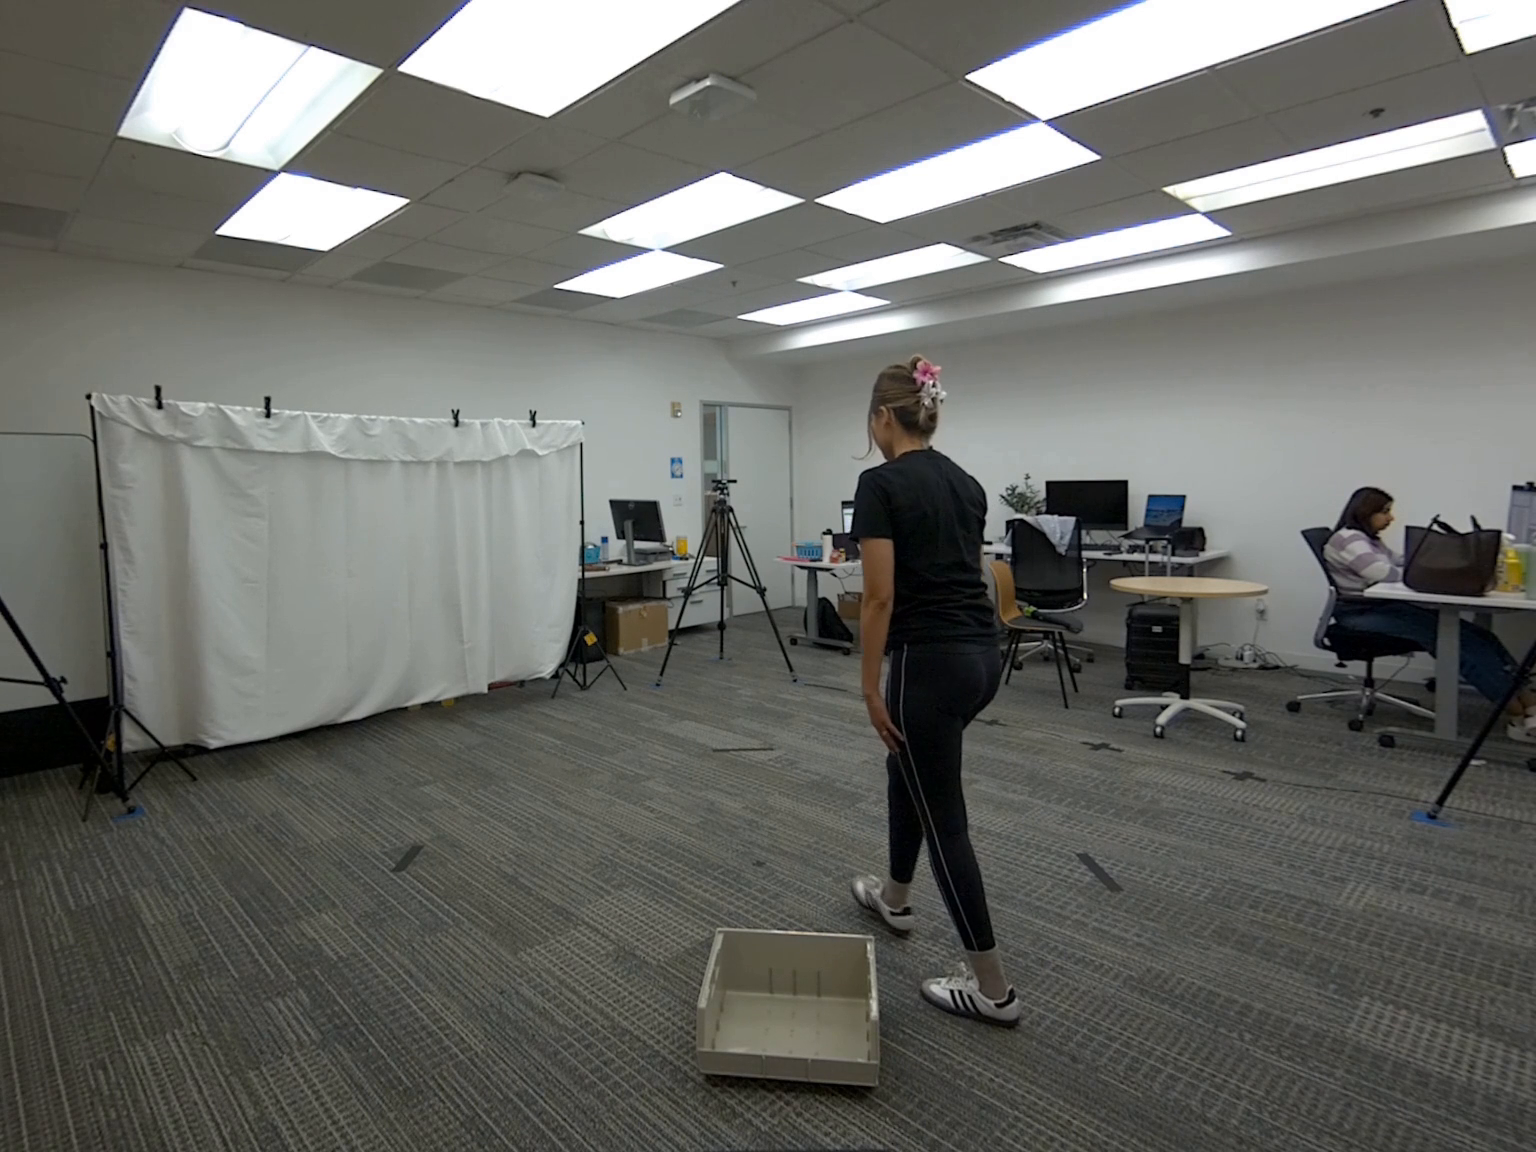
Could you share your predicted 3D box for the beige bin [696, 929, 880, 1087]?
[{"bbox_3d":[0.066,1.077,2.112,0.425,0.188,0.376,-1,5,7],"label":"beige bin"}]
